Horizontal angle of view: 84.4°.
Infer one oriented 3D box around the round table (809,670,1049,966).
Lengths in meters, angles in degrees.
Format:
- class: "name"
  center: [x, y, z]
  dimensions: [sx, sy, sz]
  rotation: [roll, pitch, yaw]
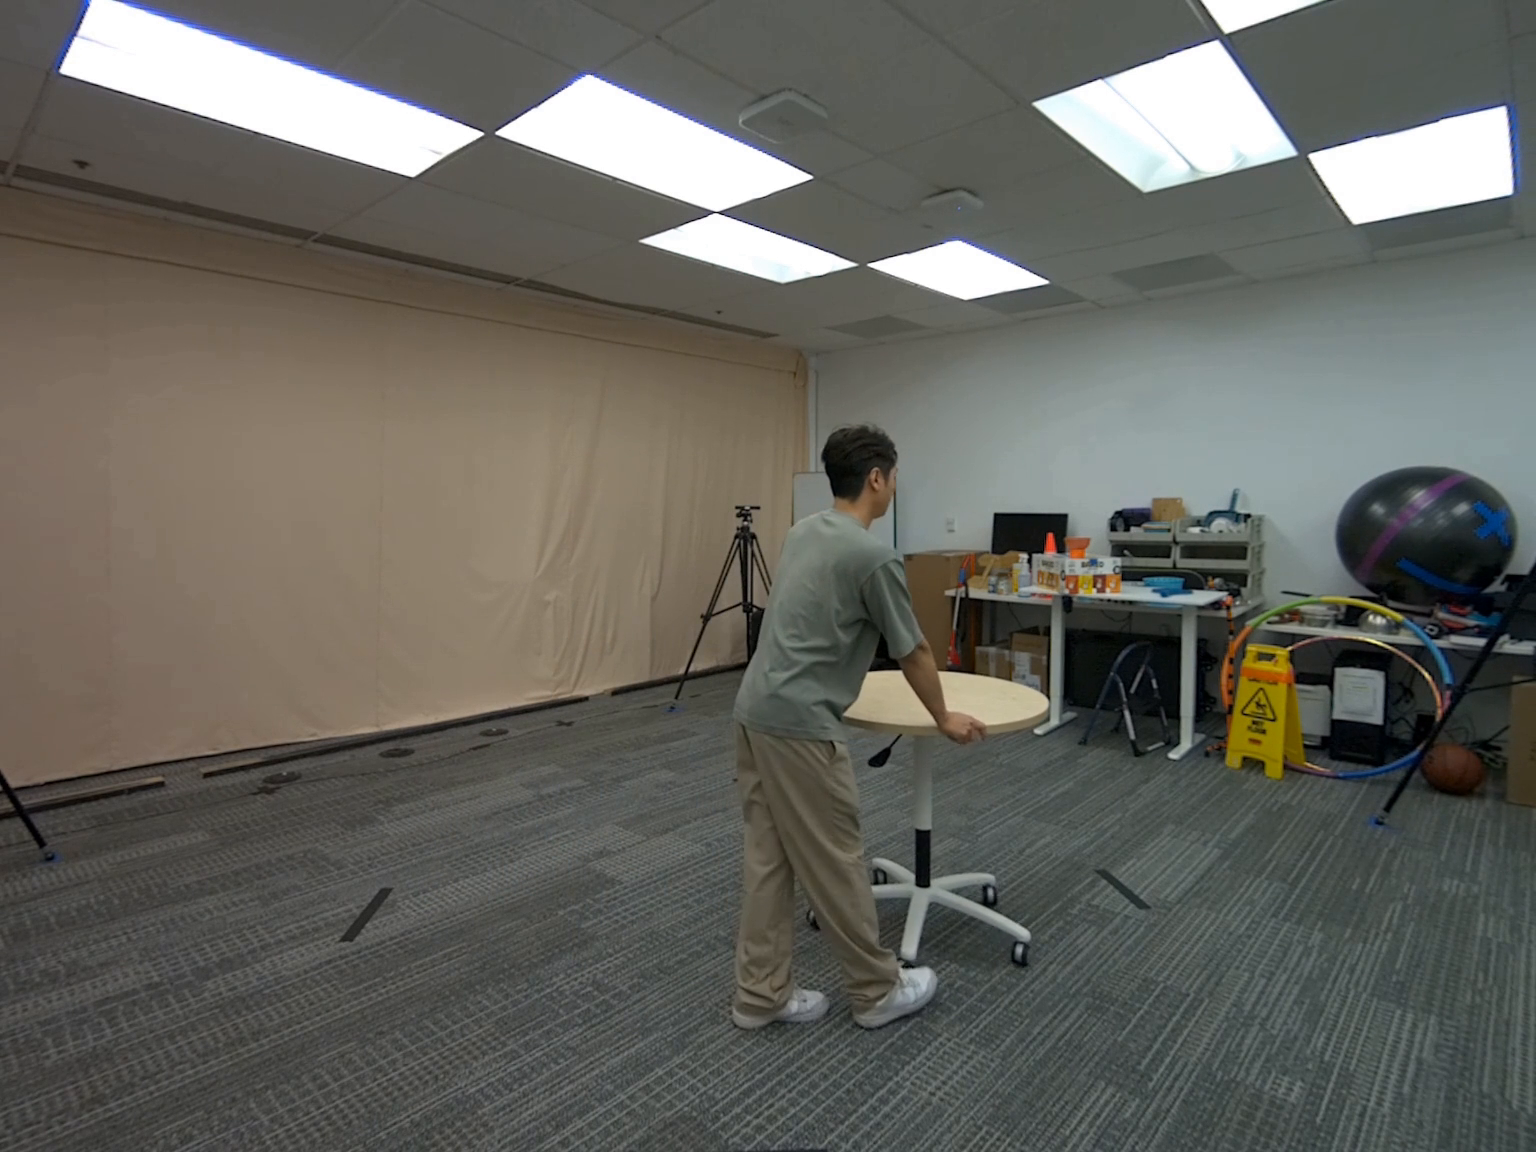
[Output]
- class: "round table"
  center: [0.530, 0.773, 2.768]
  dimensions: [0.784, 0.784, 0.788]
  rotation: [-1, 5, -2]
